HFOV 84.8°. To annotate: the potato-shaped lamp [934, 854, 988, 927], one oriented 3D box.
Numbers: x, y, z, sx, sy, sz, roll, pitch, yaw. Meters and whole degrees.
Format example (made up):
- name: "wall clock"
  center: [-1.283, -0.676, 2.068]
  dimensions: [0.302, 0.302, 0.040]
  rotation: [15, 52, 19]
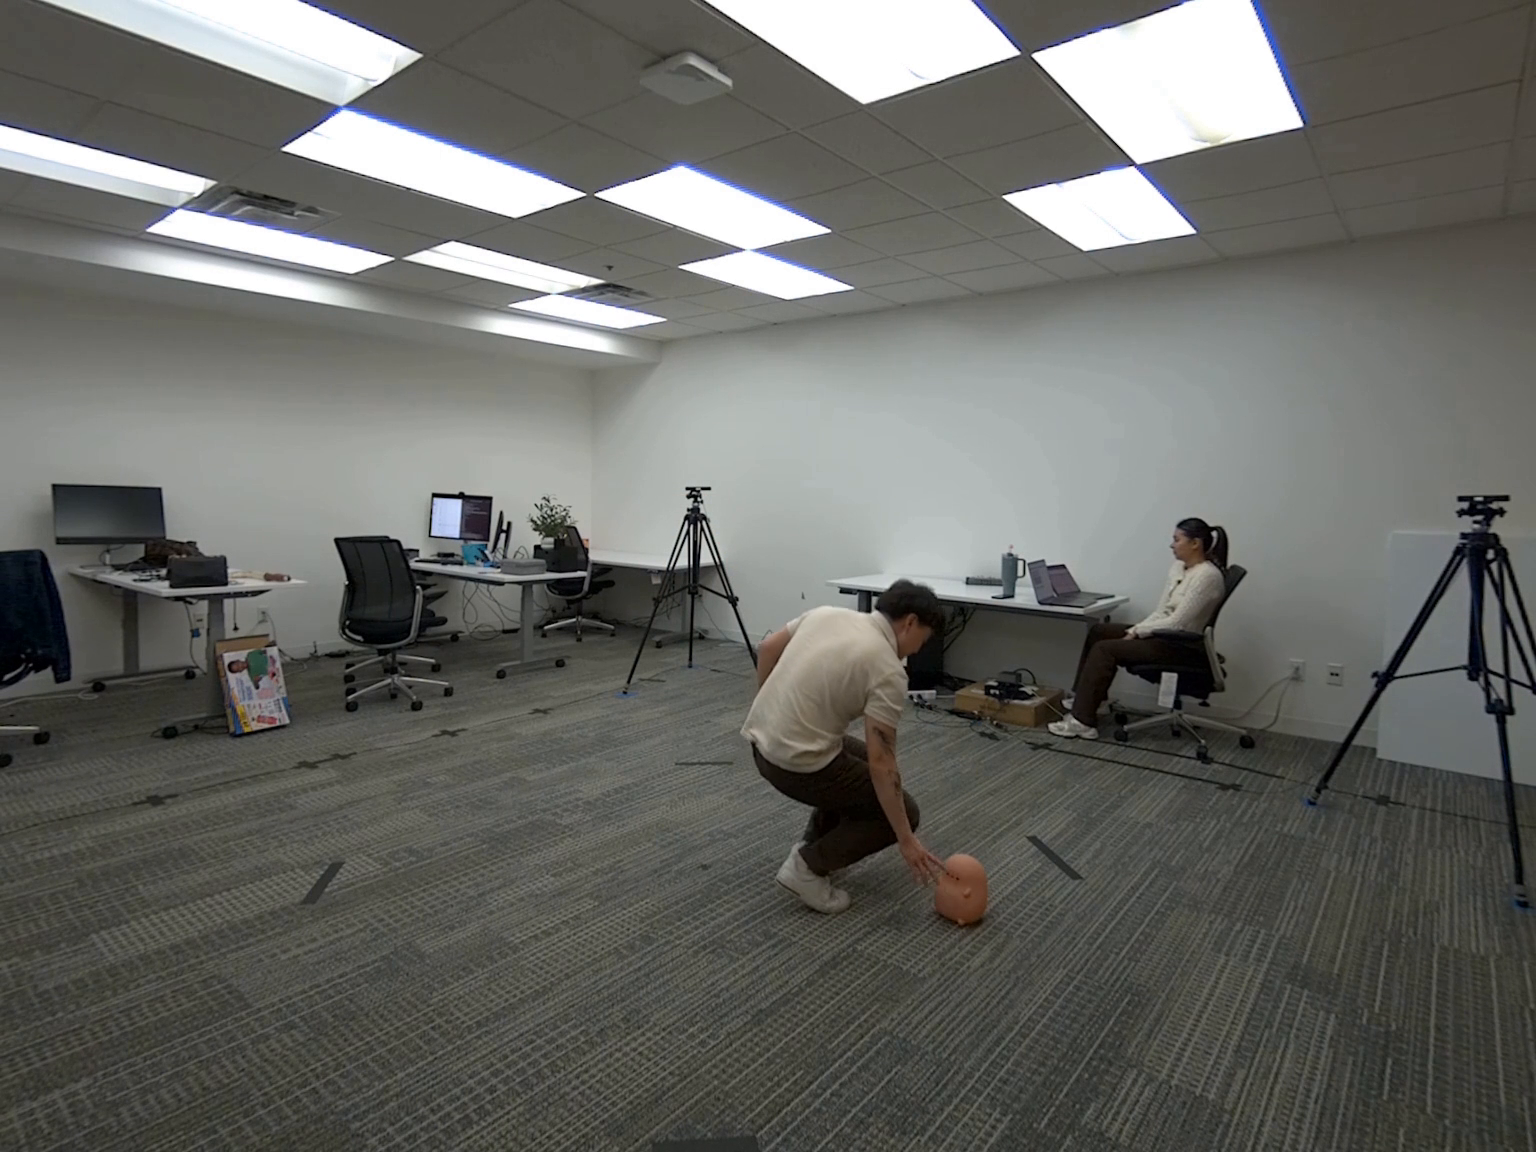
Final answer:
- name: "potato-shaped lamp"
  center: [0.632, 1.013, 2.799]
  dimensions: [0.166, 0.198, 0.169]
  rotation: [-1, 0, -34]
